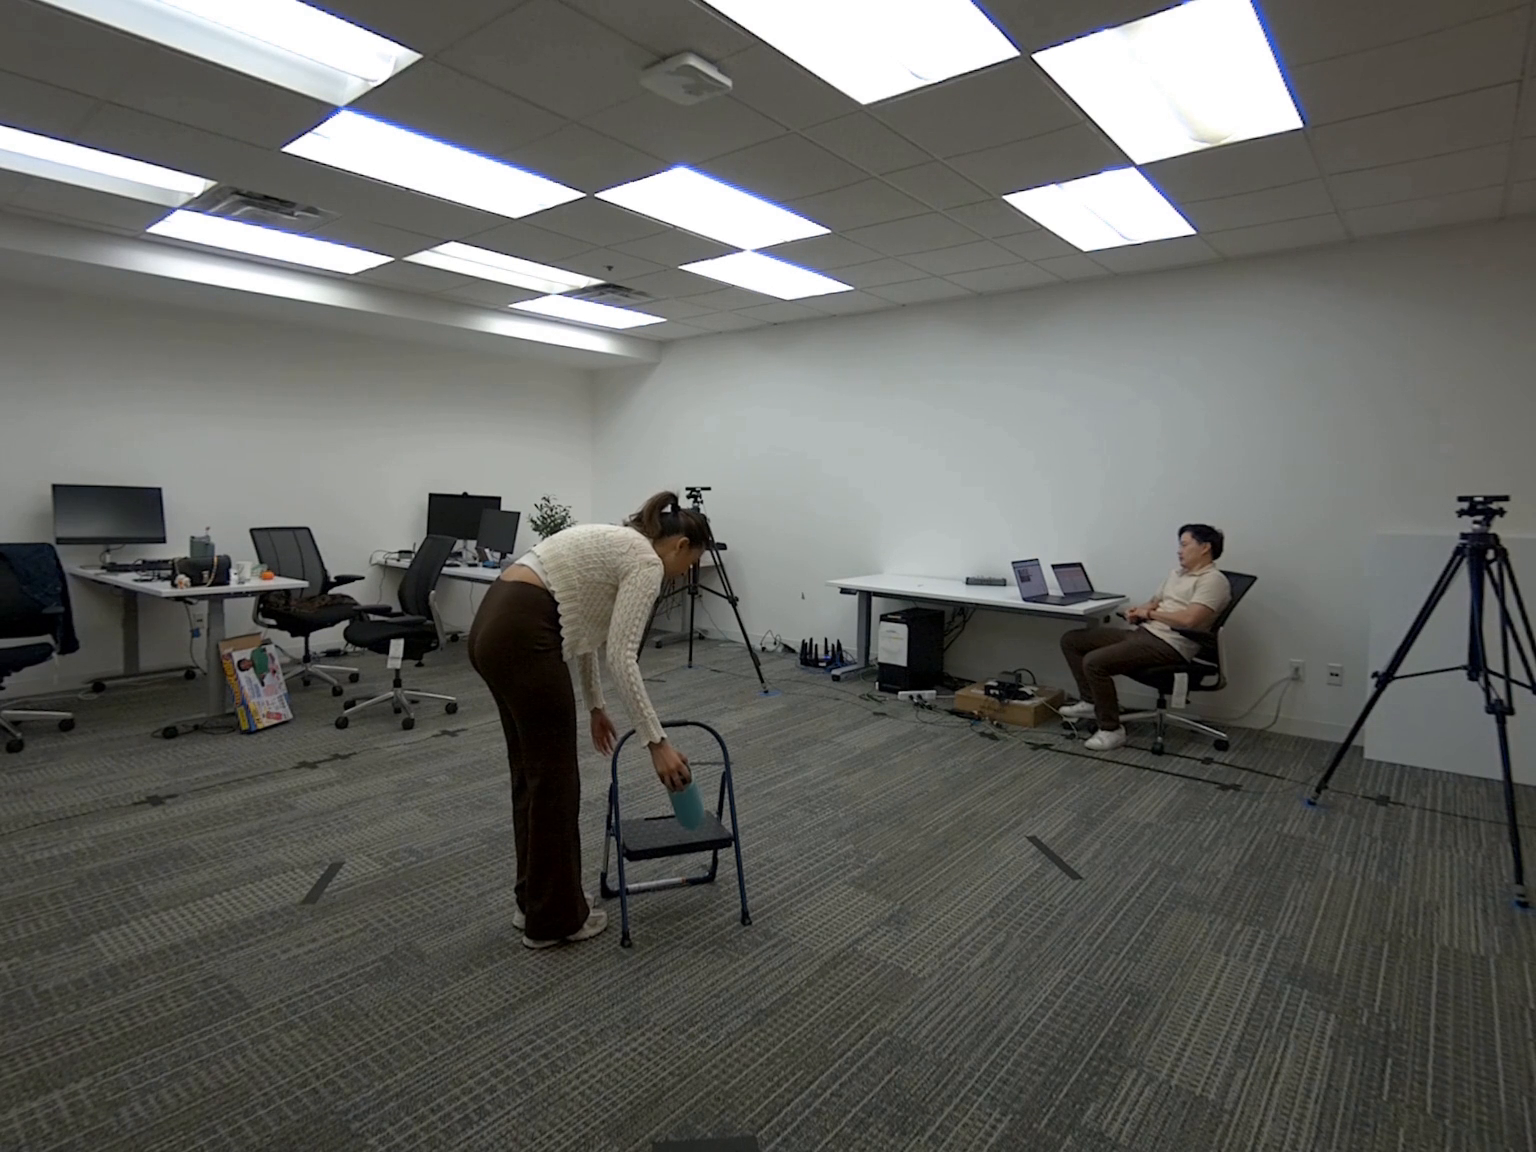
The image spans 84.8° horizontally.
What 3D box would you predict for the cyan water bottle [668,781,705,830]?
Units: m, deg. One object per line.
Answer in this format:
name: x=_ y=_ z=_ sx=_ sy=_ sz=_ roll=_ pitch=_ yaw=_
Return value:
cyan water bottle: x=-0.267 y=0.647 z=2.516 sx=0.093 sy=0.274 sz=0.095 roll=-5 pitch=44 yaw=3
